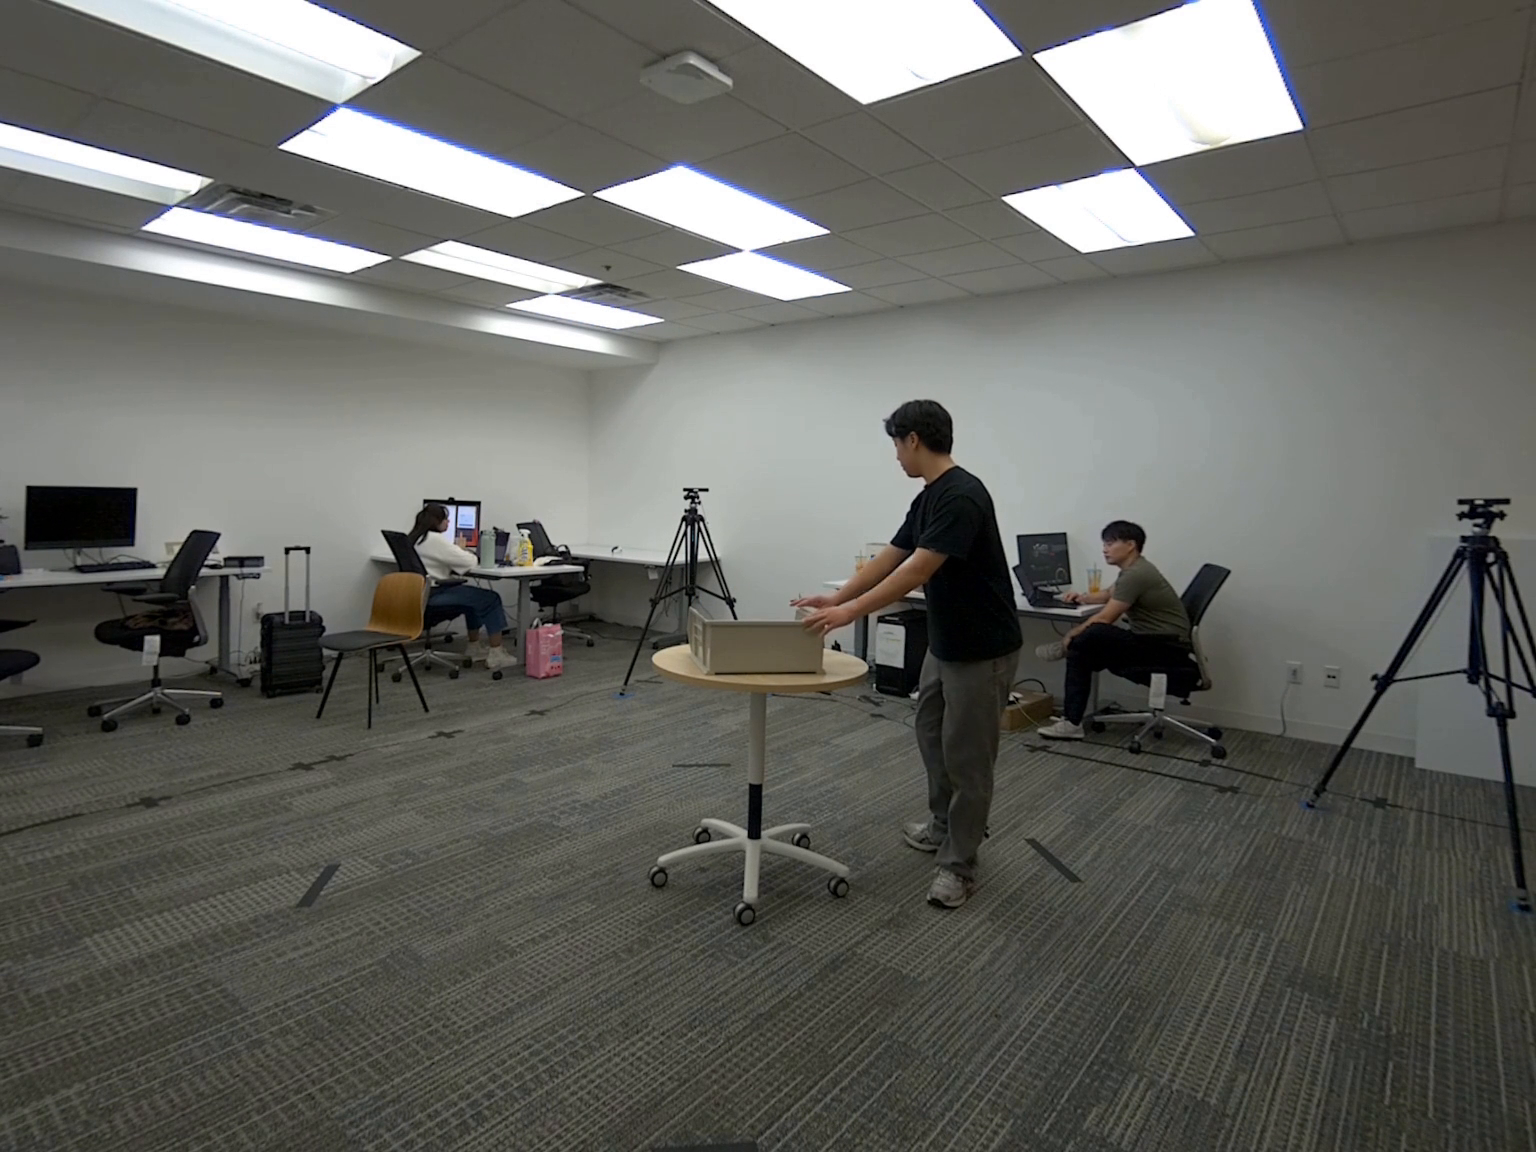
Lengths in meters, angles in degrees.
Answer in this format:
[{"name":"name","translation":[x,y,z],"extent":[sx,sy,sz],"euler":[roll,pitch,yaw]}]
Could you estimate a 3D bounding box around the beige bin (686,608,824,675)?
[{"name":"beige bin","translation":[-0.062,0.214,2.974],"extent":[0.417,0.188,0.384],"euler":[1,6,-13]}]
